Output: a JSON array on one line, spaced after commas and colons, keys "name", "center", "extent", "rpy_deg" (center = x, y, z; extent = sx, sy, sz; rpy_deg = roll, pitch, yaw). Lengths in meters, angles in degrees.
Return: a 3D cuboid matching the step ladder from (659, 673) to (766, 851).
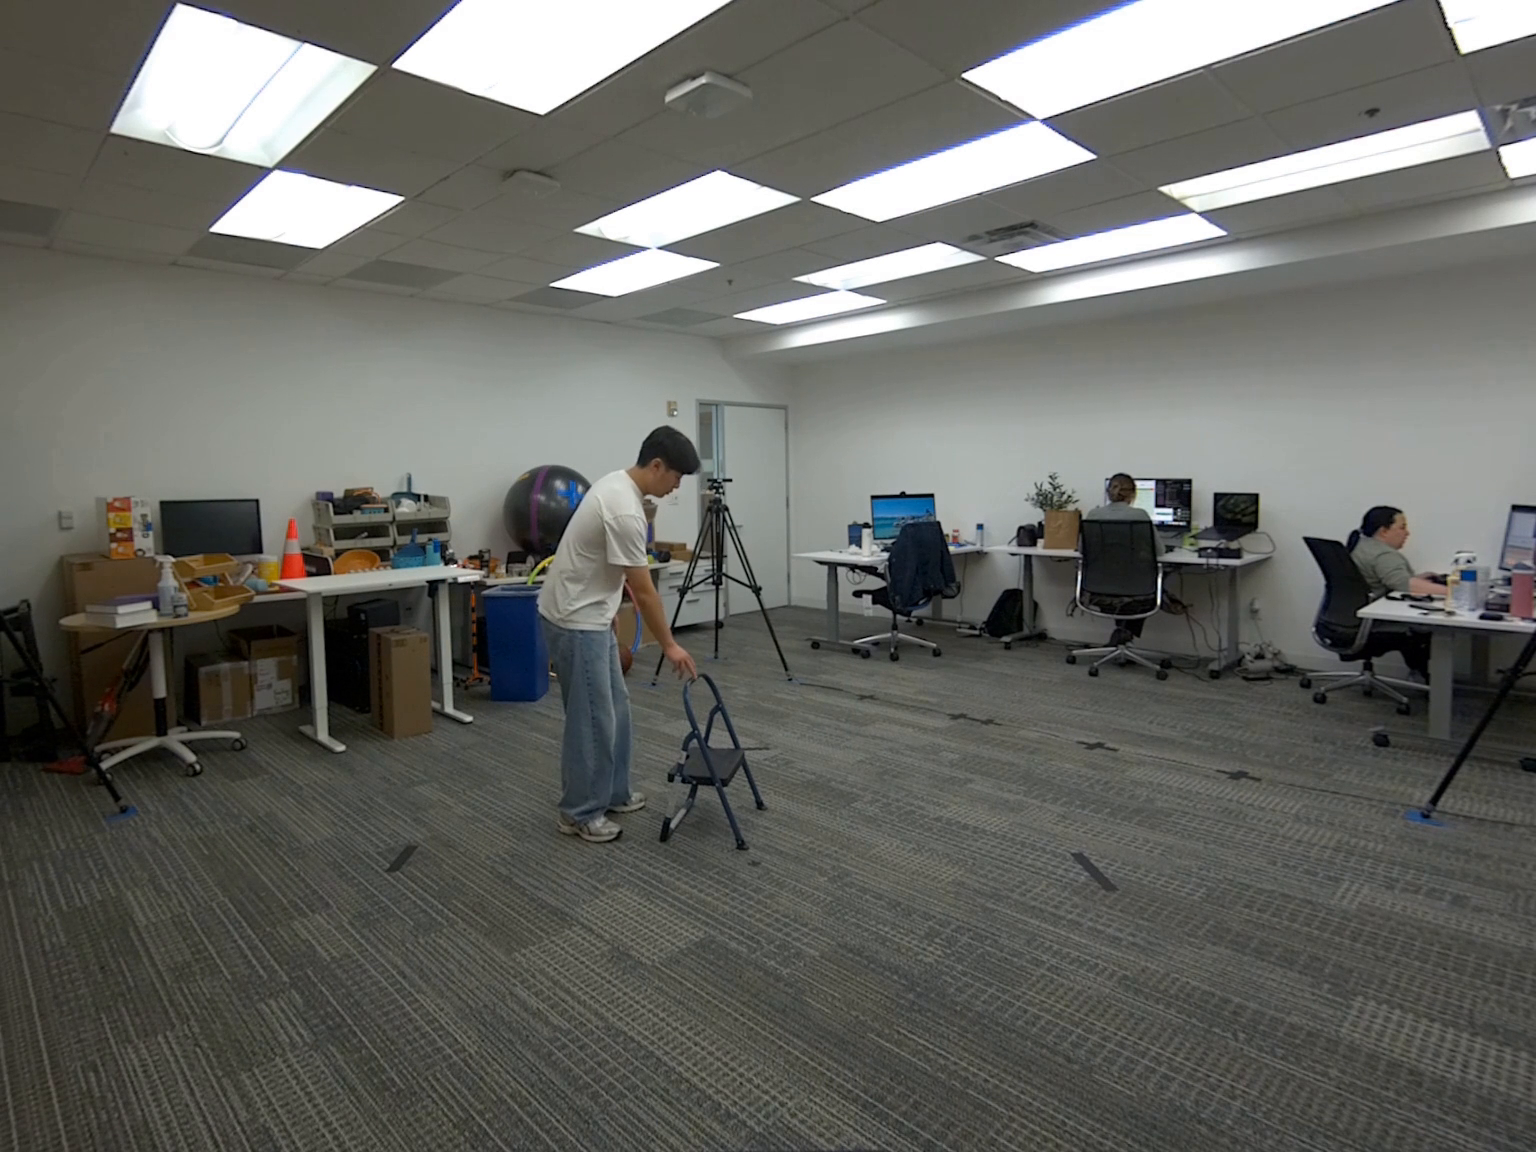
[{"name": "step ladder", "center": [-0.220, 0.707, 3.446], "extent": [0.354, 0.604, 0.427], "rpy_deg": [0, 4, 12]}]
